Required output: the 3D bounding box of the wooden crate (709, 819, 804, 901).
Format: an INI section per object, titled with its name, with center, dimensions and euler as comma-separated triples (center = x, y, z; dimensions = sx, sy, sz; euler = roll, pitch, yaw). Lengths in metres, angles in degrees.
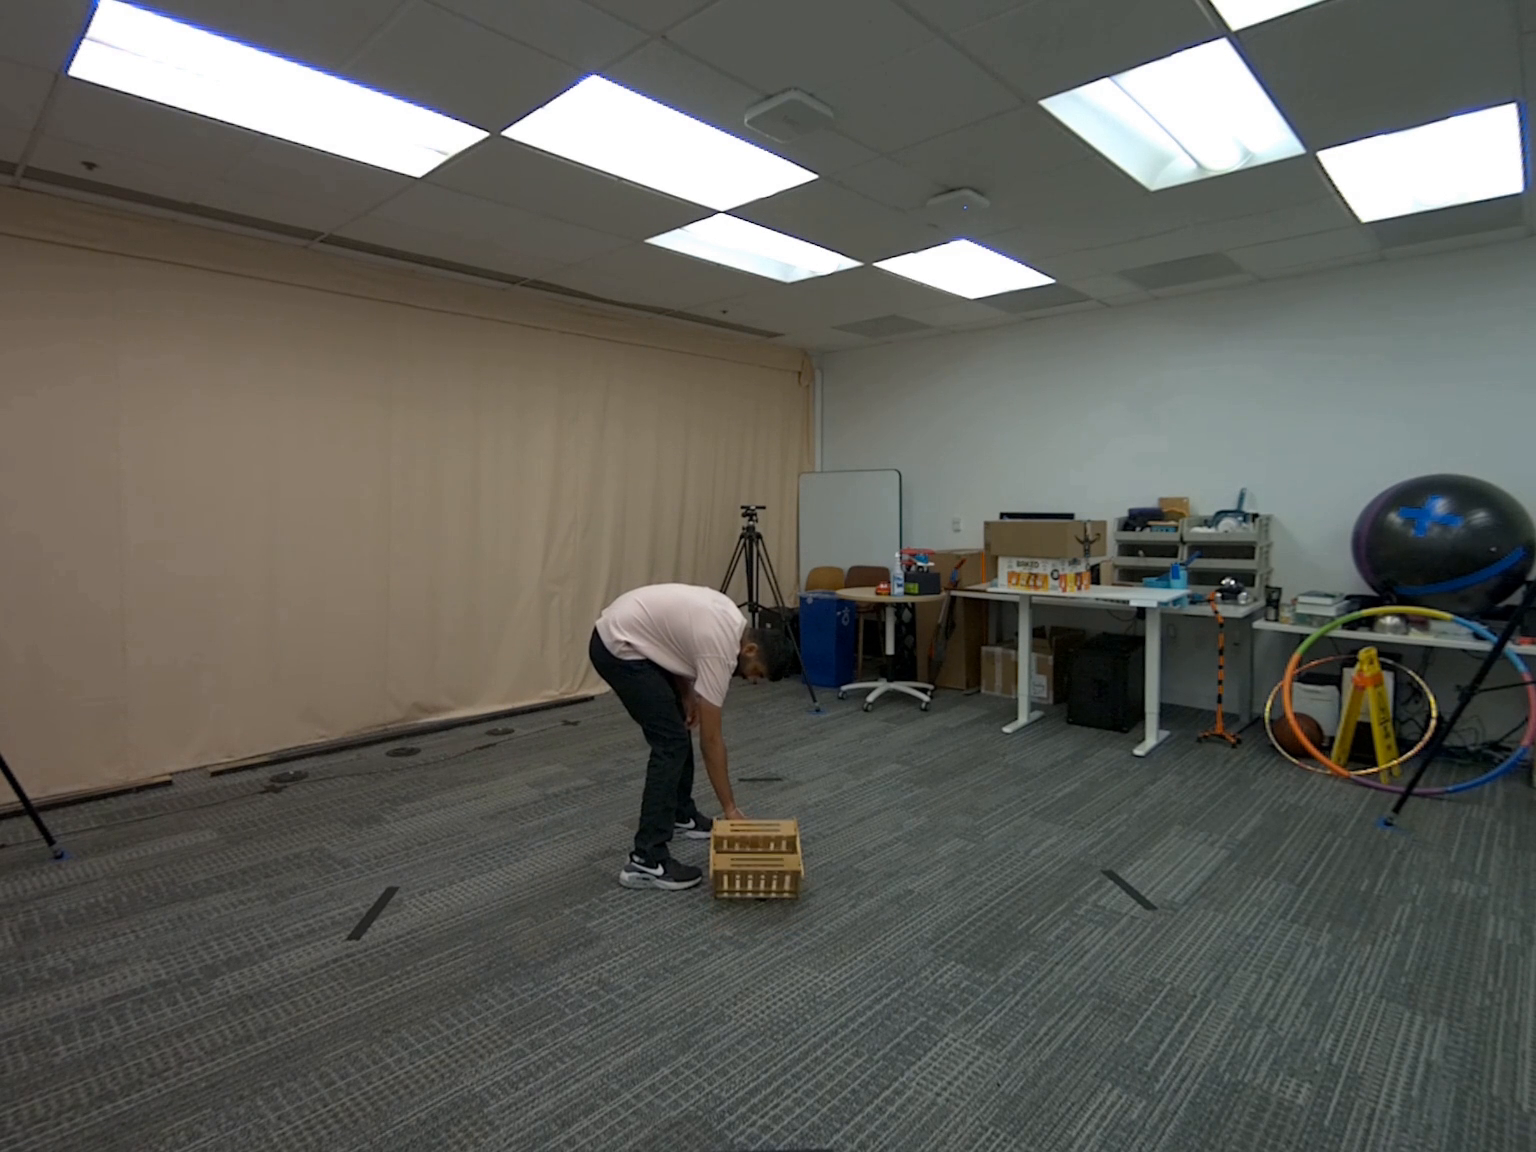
[wooden crate]
center = -0.044, 0.985, 3.011
dimensions = 0.324, 0.296, 0.278
euler = 0, 45, -1
